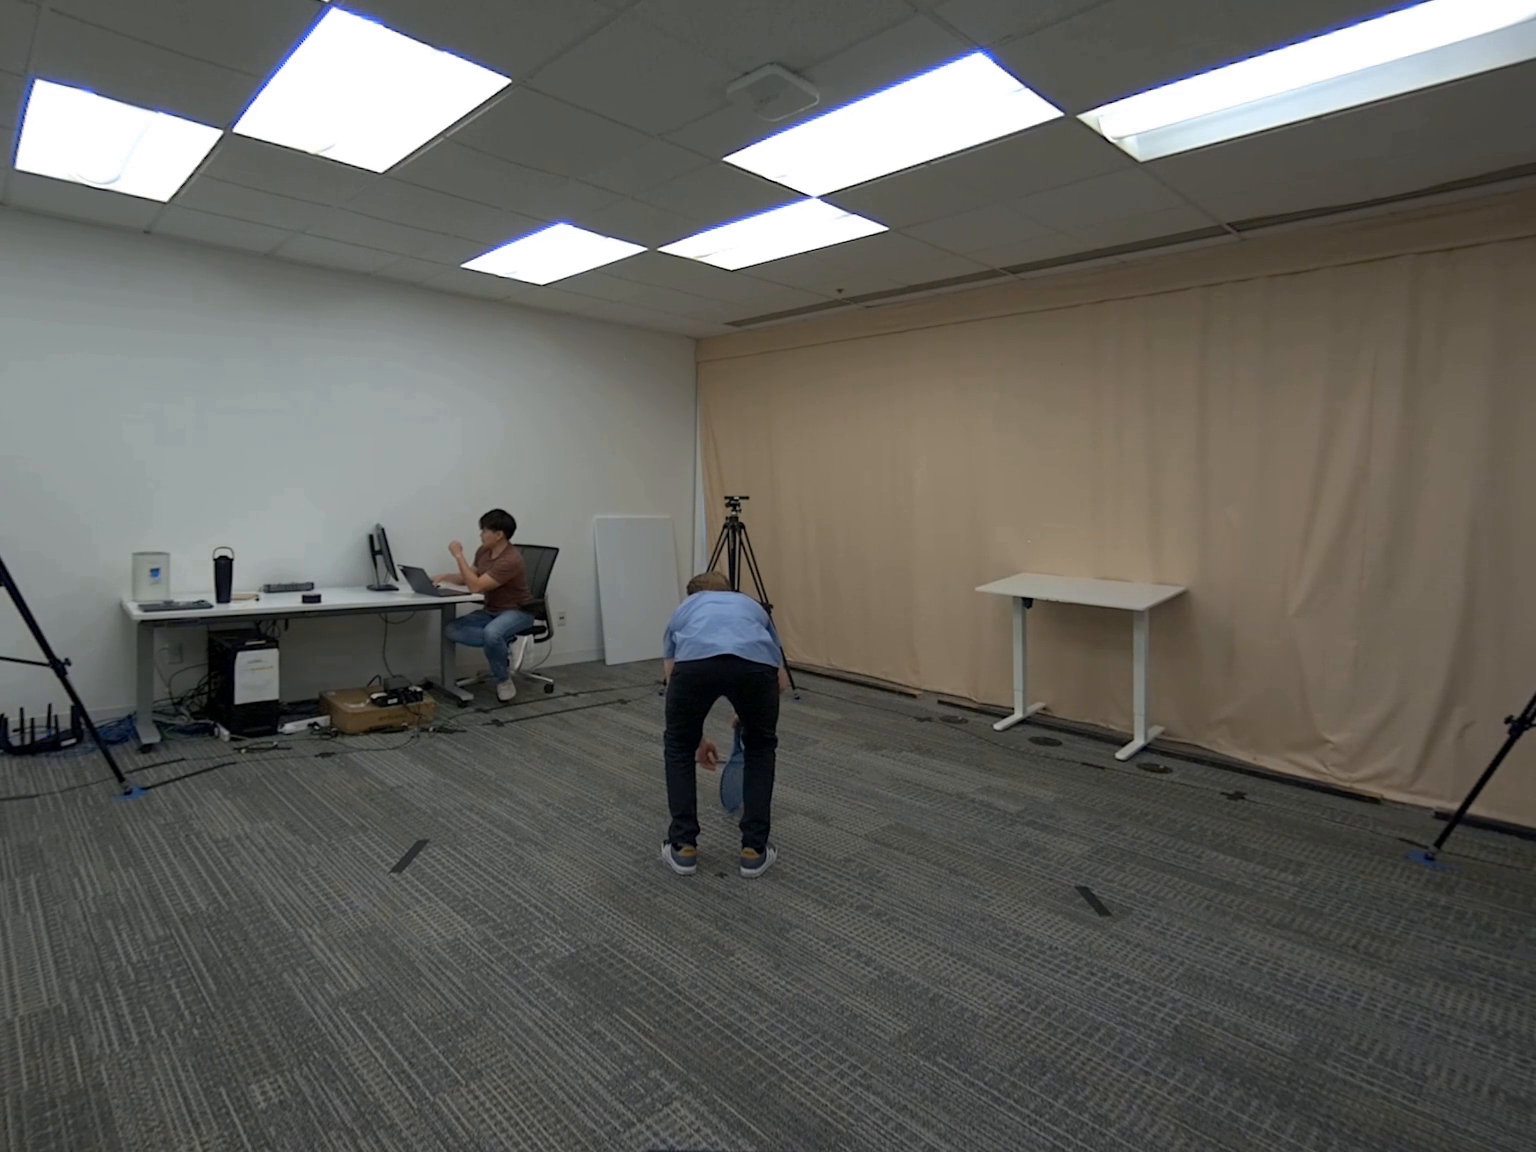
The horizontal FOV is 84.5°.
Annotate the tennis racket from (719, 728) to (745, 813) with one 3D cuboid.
[{"bbox_3d":[-0.143,0.829,3.736,0.032,0.431,0.209,8,7,34],"label":"tennis racket"}]
